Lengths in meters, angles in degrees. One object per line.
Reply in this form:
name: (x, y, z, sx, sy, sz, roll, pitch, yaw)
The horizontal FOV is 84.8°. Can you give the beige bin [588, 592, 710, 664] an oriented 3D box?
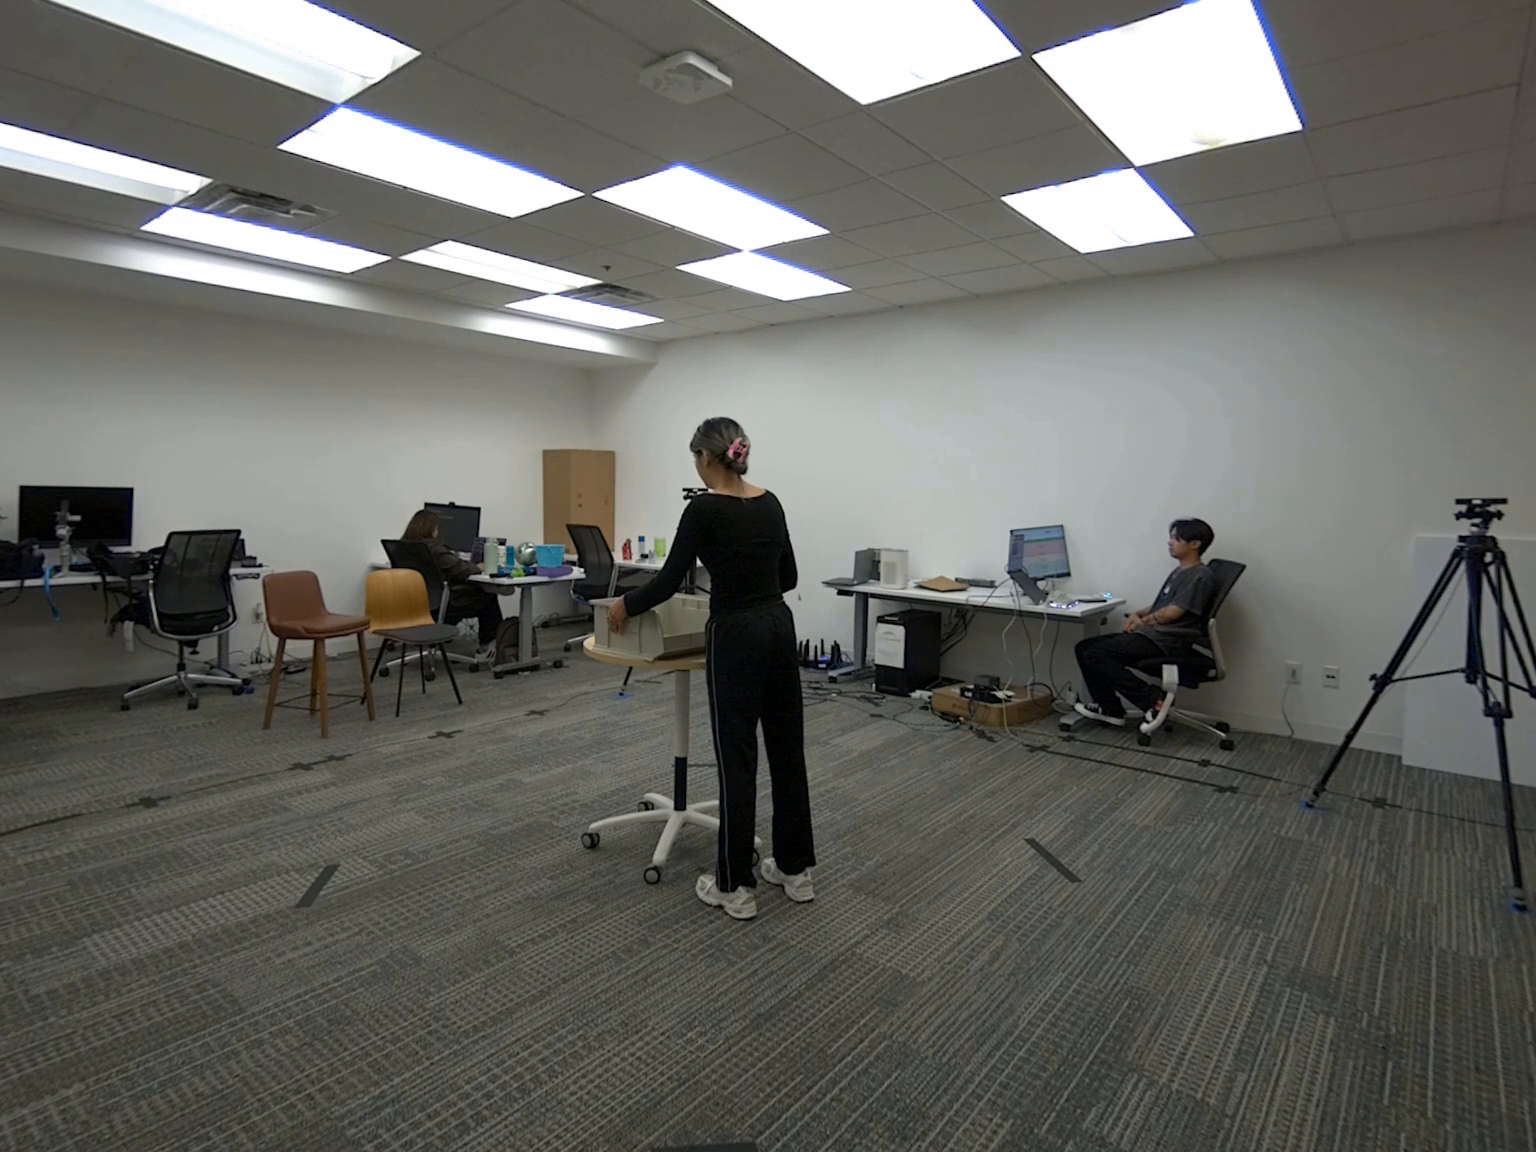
beige bin: (-0.384, 0.180, 3.139, 0.389, 0.188, 0.410, 2, 5, 40)
